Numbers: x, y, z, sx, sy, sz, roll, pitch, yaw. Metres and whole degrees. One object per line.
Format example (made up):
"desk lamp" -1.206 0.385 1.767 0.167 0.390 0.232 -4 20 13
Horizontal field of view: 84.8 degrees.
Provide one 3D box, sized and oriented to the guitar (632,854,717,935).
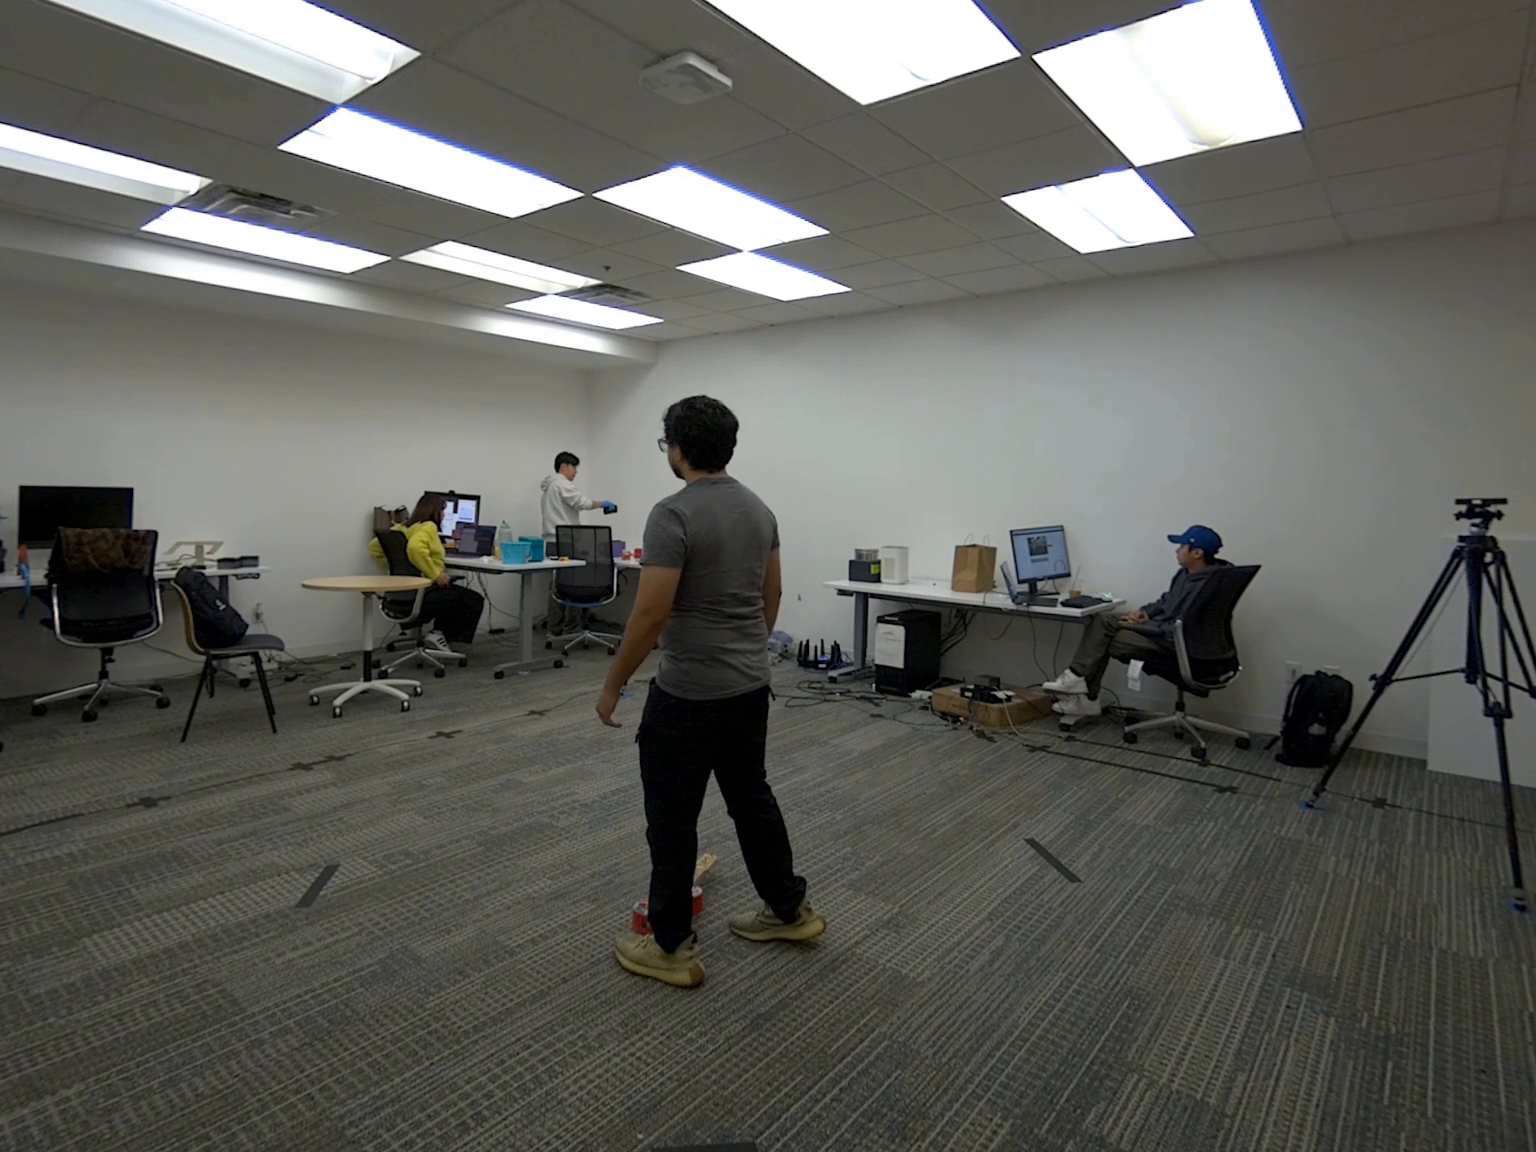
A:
"guitar" -0.261 1.058 2.844 0.198 0.070 0.486 3 7 26
